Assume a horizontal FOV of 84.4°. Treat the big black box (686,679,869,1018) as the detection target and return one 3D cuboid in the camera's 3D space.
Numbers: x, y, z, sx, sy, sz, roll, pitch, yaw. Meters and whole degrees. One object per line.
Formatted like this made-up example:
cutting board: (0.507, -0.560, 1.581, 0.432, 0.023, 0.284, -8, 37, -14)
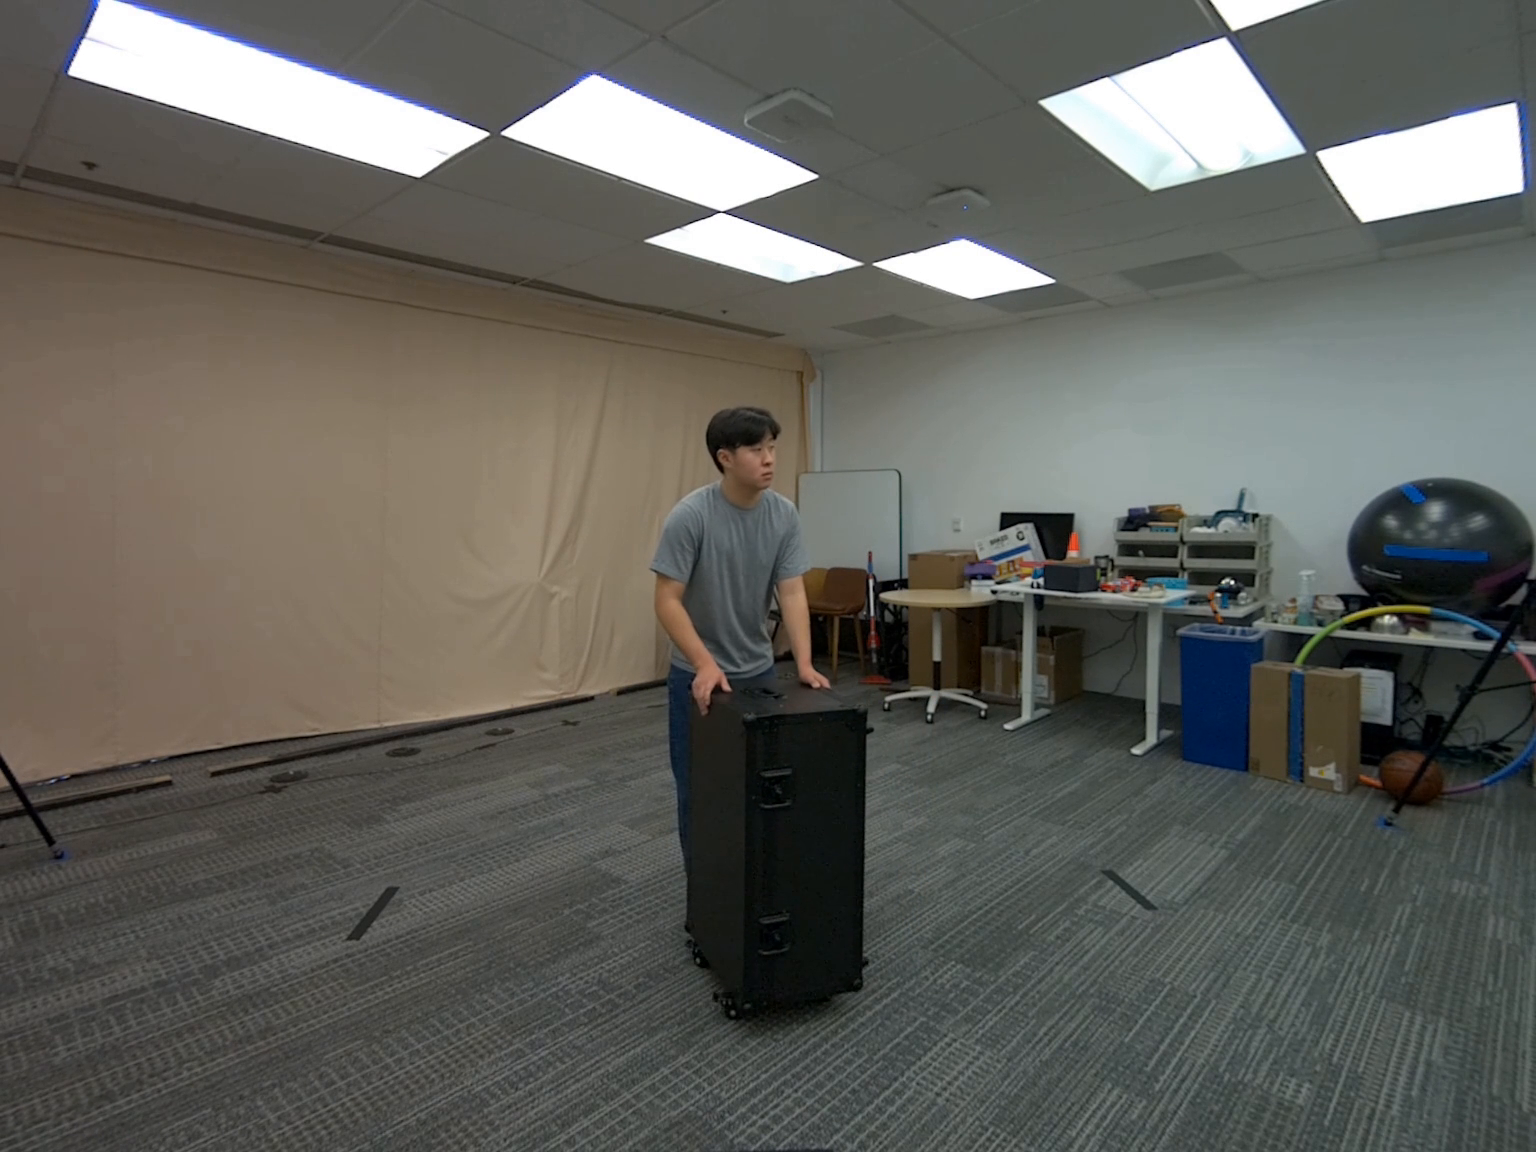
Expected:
big black box: (0.022, 0.764, 2.456, 0.388, 0.860, 0.533, 1, 3, -22)
